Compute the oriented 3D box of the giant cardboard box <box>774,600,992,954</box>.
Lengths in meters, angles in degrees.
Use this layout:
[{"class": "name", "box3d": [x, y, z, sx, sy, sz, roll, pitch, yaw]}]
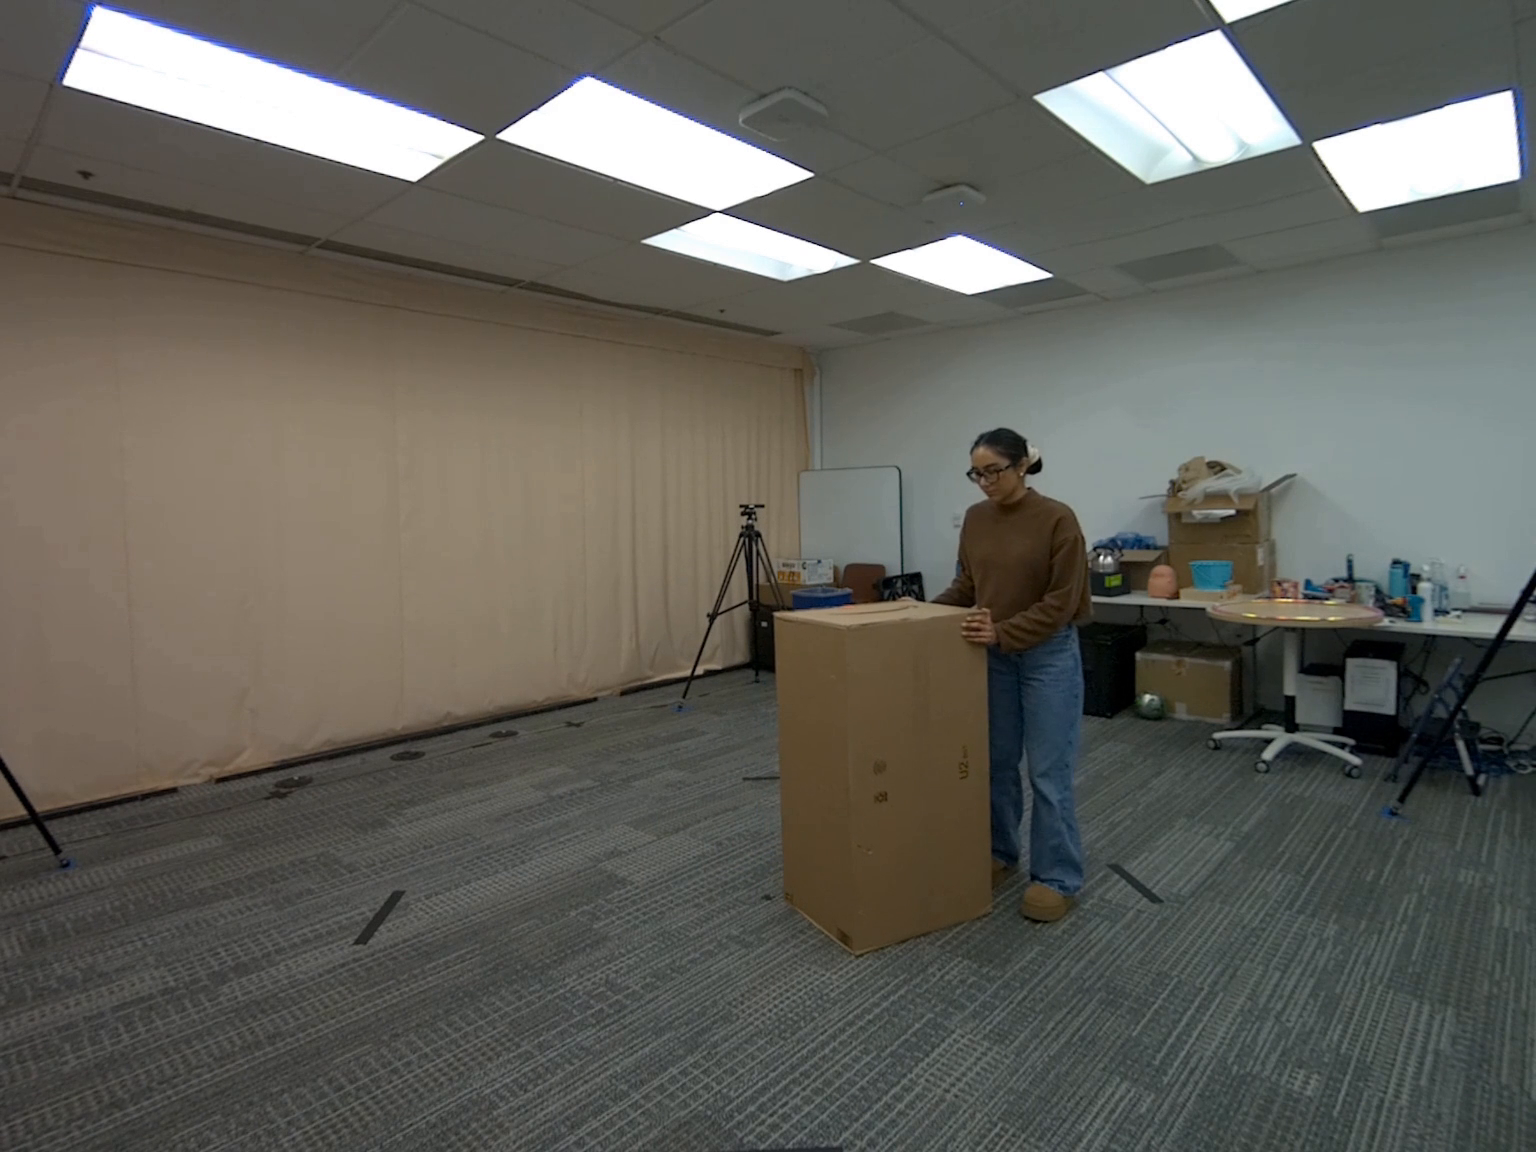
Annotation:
[{"class": "giant cardboard box", "box3d": [0.388, 0.632, 2.872, 0.563, 1.023, 0.438, -4, 4, -28]}]
